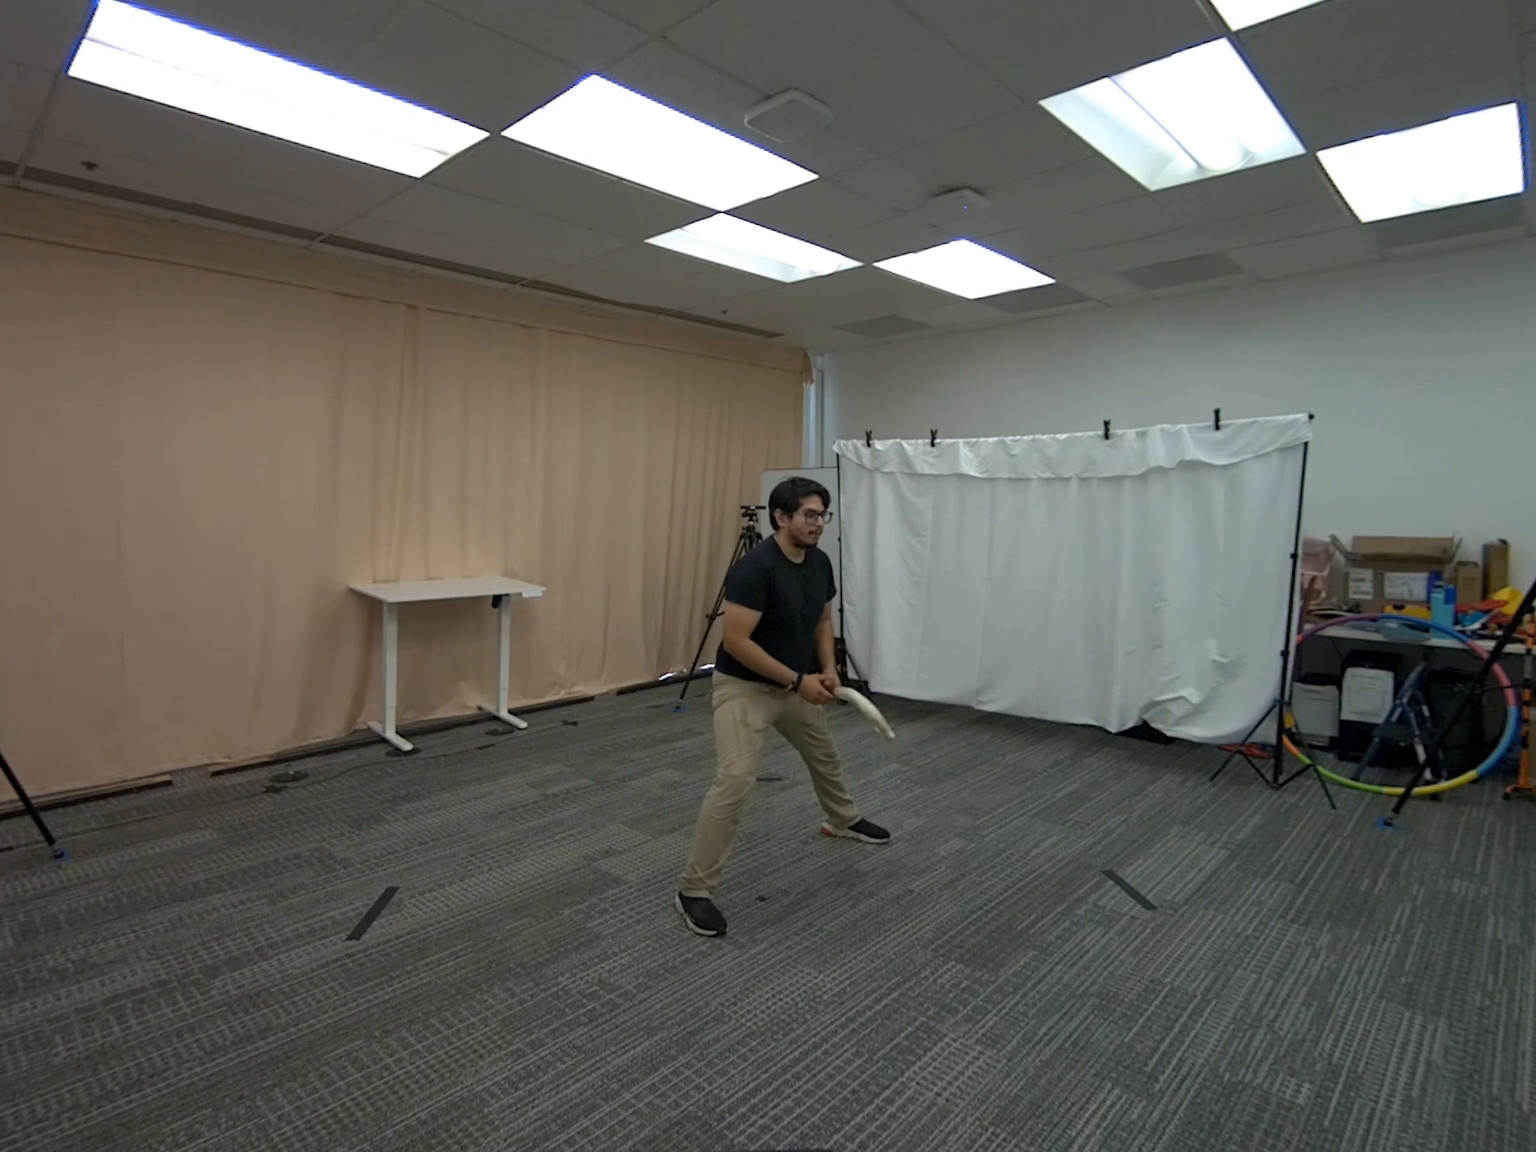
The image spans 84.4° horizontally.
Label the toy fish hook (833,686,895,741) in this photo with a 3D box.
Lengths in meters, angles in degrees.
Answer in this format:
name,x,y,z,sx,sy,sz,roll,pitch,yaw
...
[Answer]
name,x,y,z,sx,sy,sz,roll,pitch,yaw
toy fish hook,0.296,0.450,2.886,0.048,0.221,0.517,-35,14,-12
